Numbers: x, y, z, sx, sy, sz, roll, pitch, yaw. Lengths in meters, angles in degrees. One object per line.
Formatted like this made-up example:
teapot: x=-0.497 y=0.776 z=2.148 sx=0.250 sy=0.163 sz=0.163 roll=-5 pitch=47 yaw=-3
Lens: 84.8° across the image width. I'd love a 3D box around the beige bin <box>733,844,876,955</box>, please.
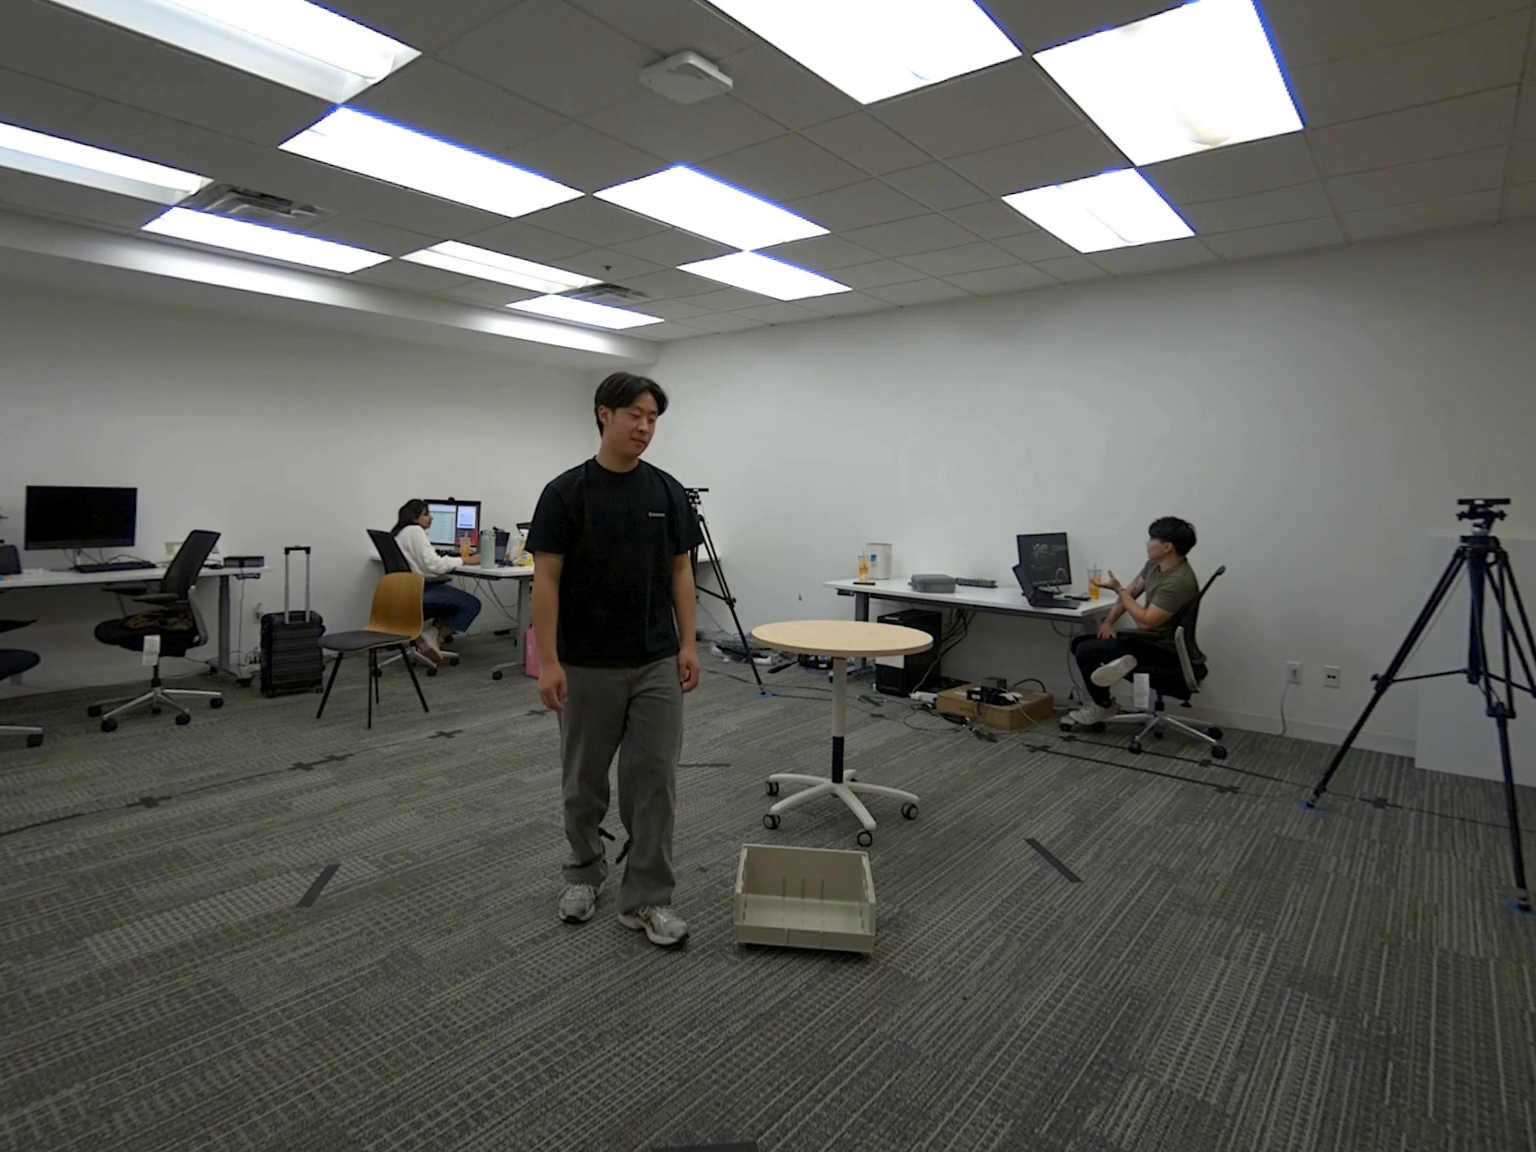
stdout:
beige bin: x=0.107 y=1.027 z=2.700 sx=0.425 sy=0.188 sz=0.376 roll=1 pitch=4 yaw=4
